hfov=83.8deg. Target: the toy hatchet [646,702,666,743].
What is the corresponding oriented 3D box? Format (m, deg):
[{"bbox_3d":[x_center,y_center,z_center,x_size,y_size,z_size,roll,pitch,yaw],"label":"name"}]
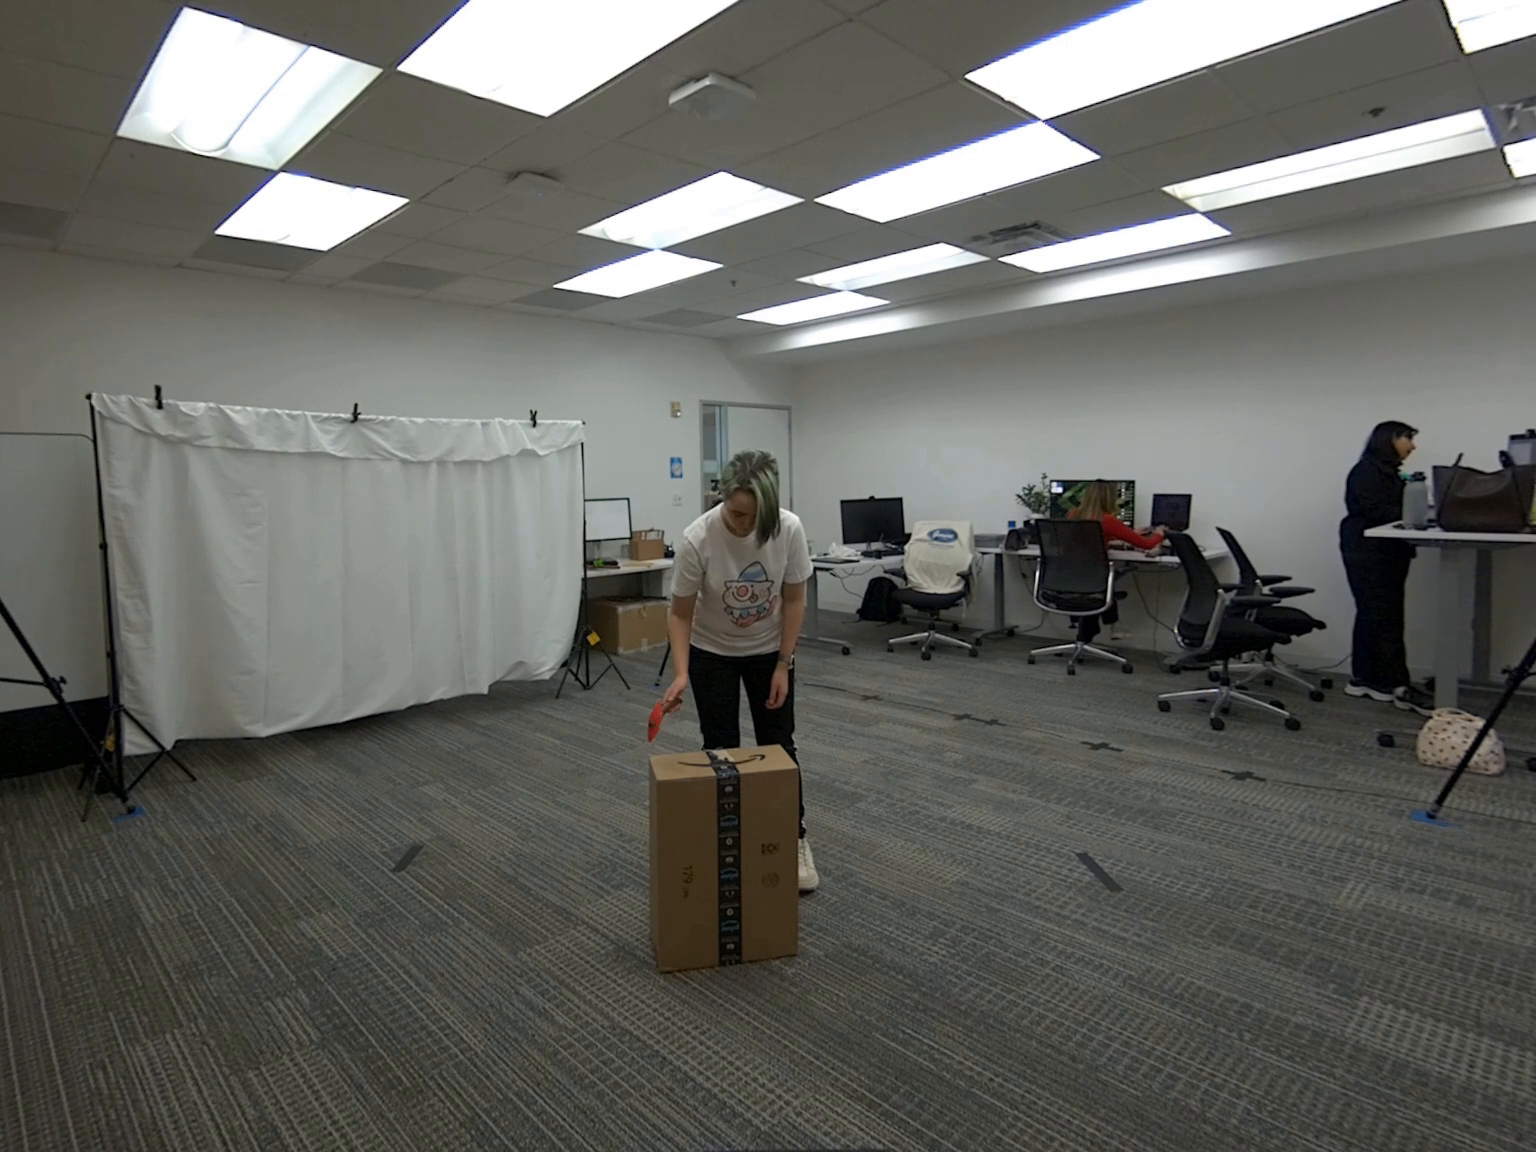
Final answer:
[{"bbox_3d":[-0.317,0.443,2.615,0.030,0.131,0.266,12,-3,10],"label":"toy hatchet"}]
